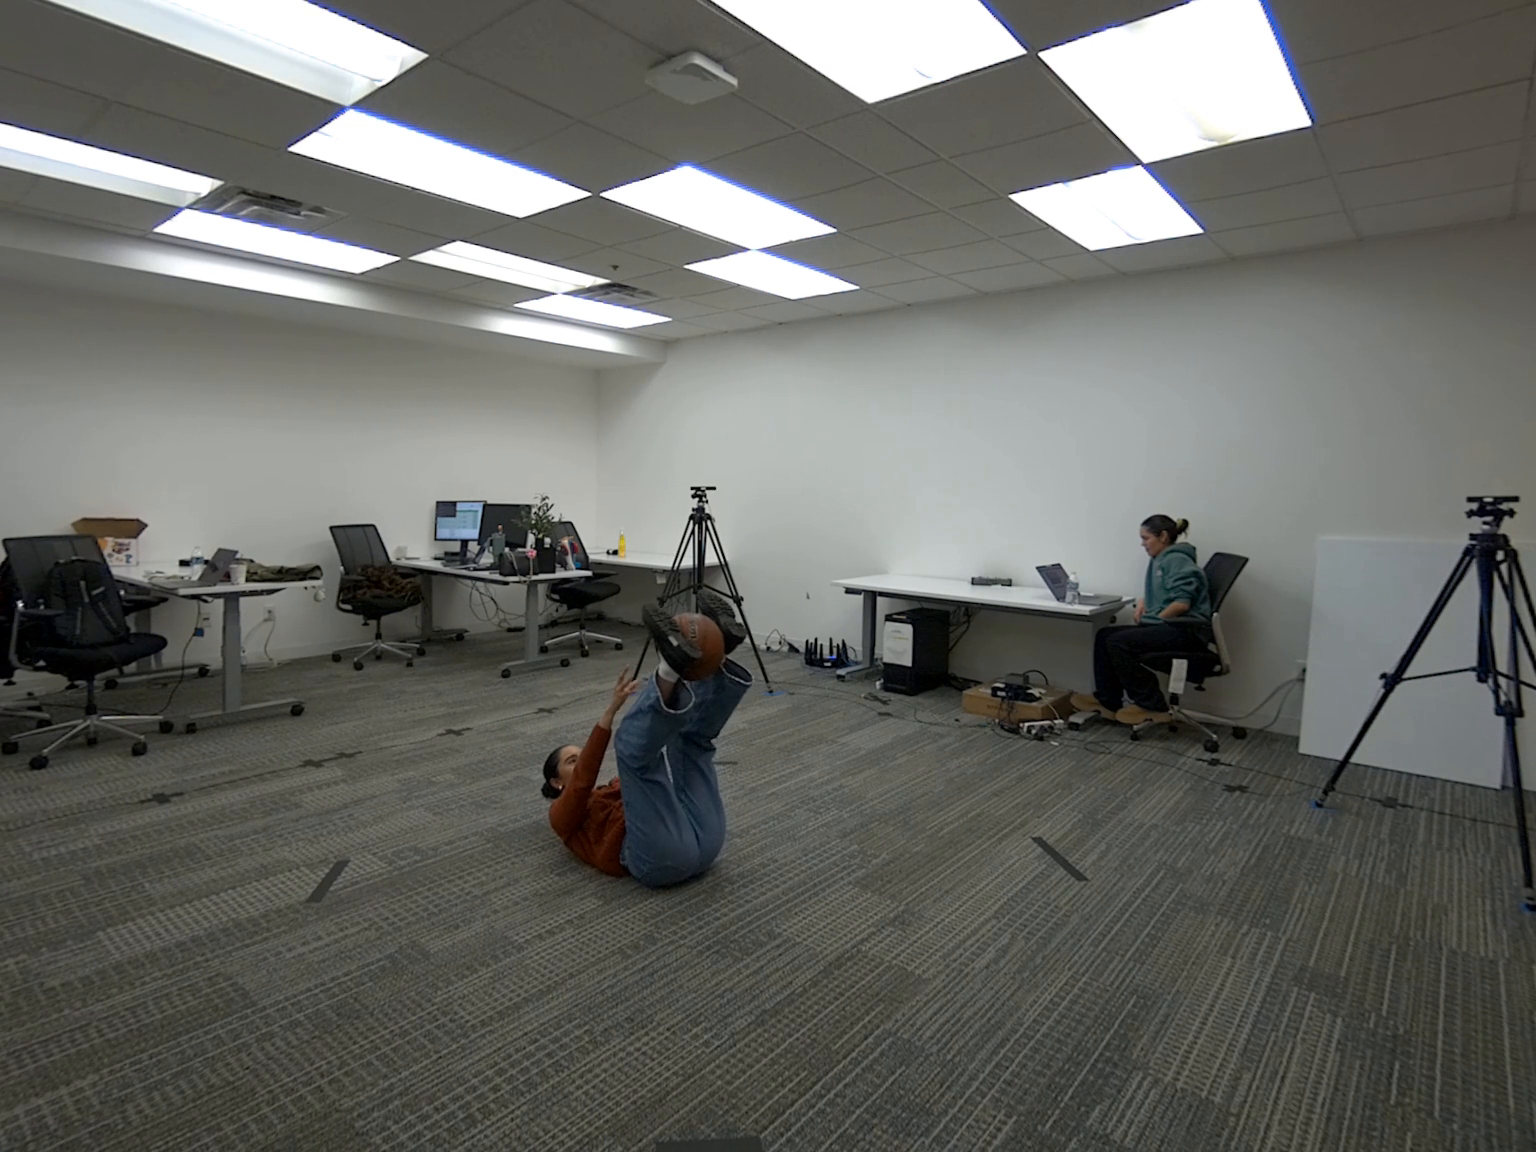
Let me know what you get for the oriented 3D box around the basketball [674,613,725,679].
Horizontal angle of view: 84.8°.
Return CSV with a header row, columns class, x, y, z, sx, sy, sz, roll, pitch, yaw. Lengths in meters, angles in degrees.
class,x,y,z,sx,sy,sz,roll,pitch,yaw
basketball,-0.271,0.246,2.956,0.236,0.235,0.237,-3,3,-2
